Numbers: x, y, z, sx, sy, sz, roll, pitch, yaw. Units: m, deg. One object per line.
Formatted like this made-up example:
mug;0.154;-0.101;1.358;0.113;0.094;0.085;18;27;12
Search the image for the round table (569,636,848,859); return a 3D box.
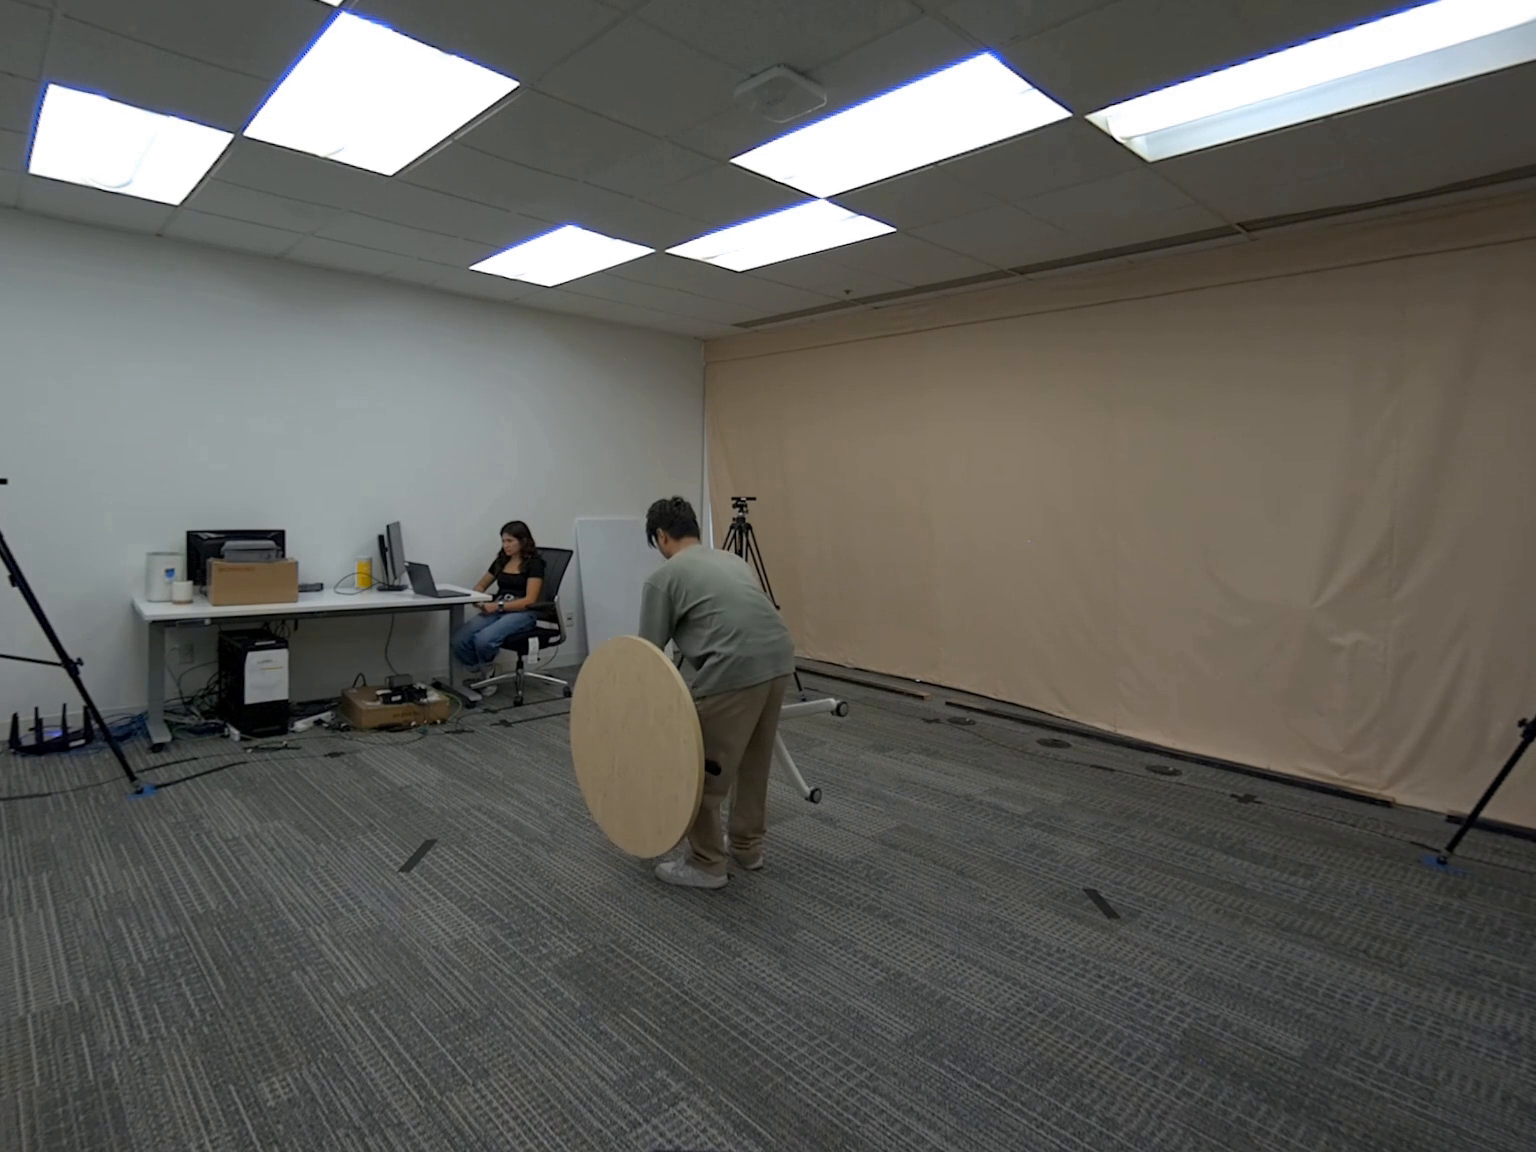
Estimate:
round table;-0.225;0.586;3.231;0.768;0.784;0.805;0;4;-44
